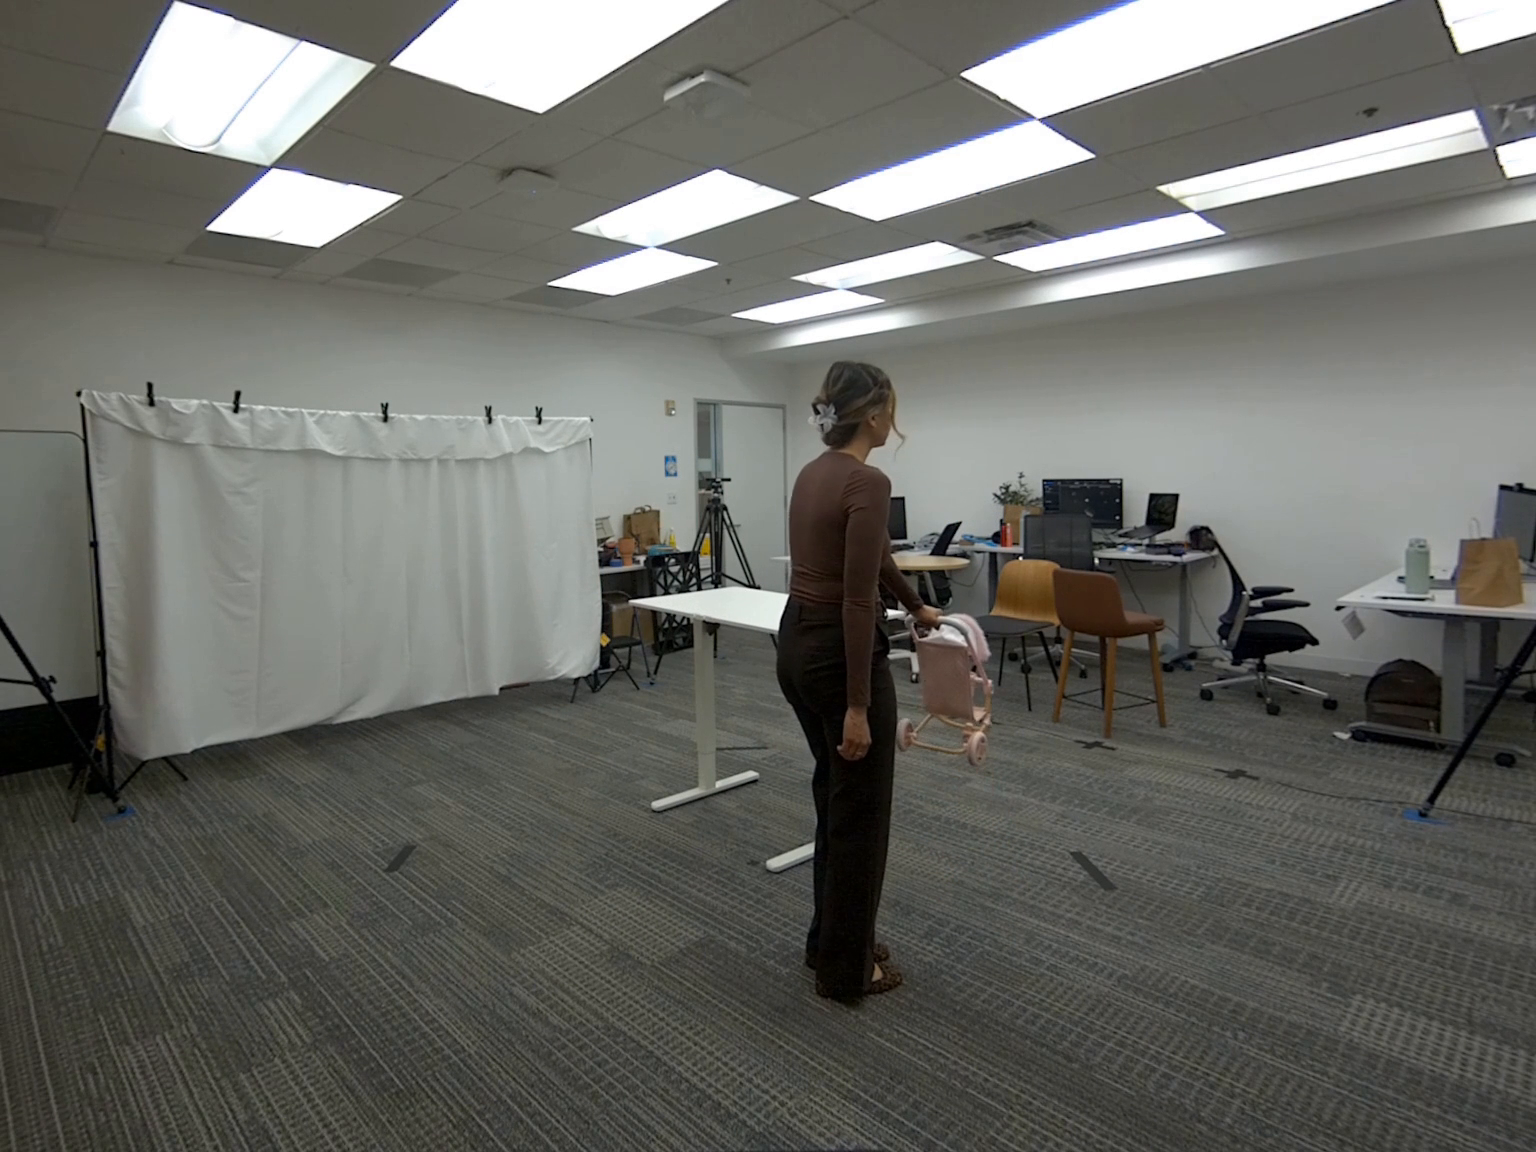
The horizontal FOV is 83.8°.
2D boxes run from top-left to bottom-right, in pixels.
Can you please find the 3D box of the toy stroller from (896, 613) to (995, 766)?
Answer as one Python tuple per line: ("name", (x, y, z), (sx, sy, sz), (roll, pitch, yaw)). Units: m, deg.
("toy stroller", (0.617, 0.373, 2.841), (0.290, 0.532, 0.333), (3, 9, 41))
